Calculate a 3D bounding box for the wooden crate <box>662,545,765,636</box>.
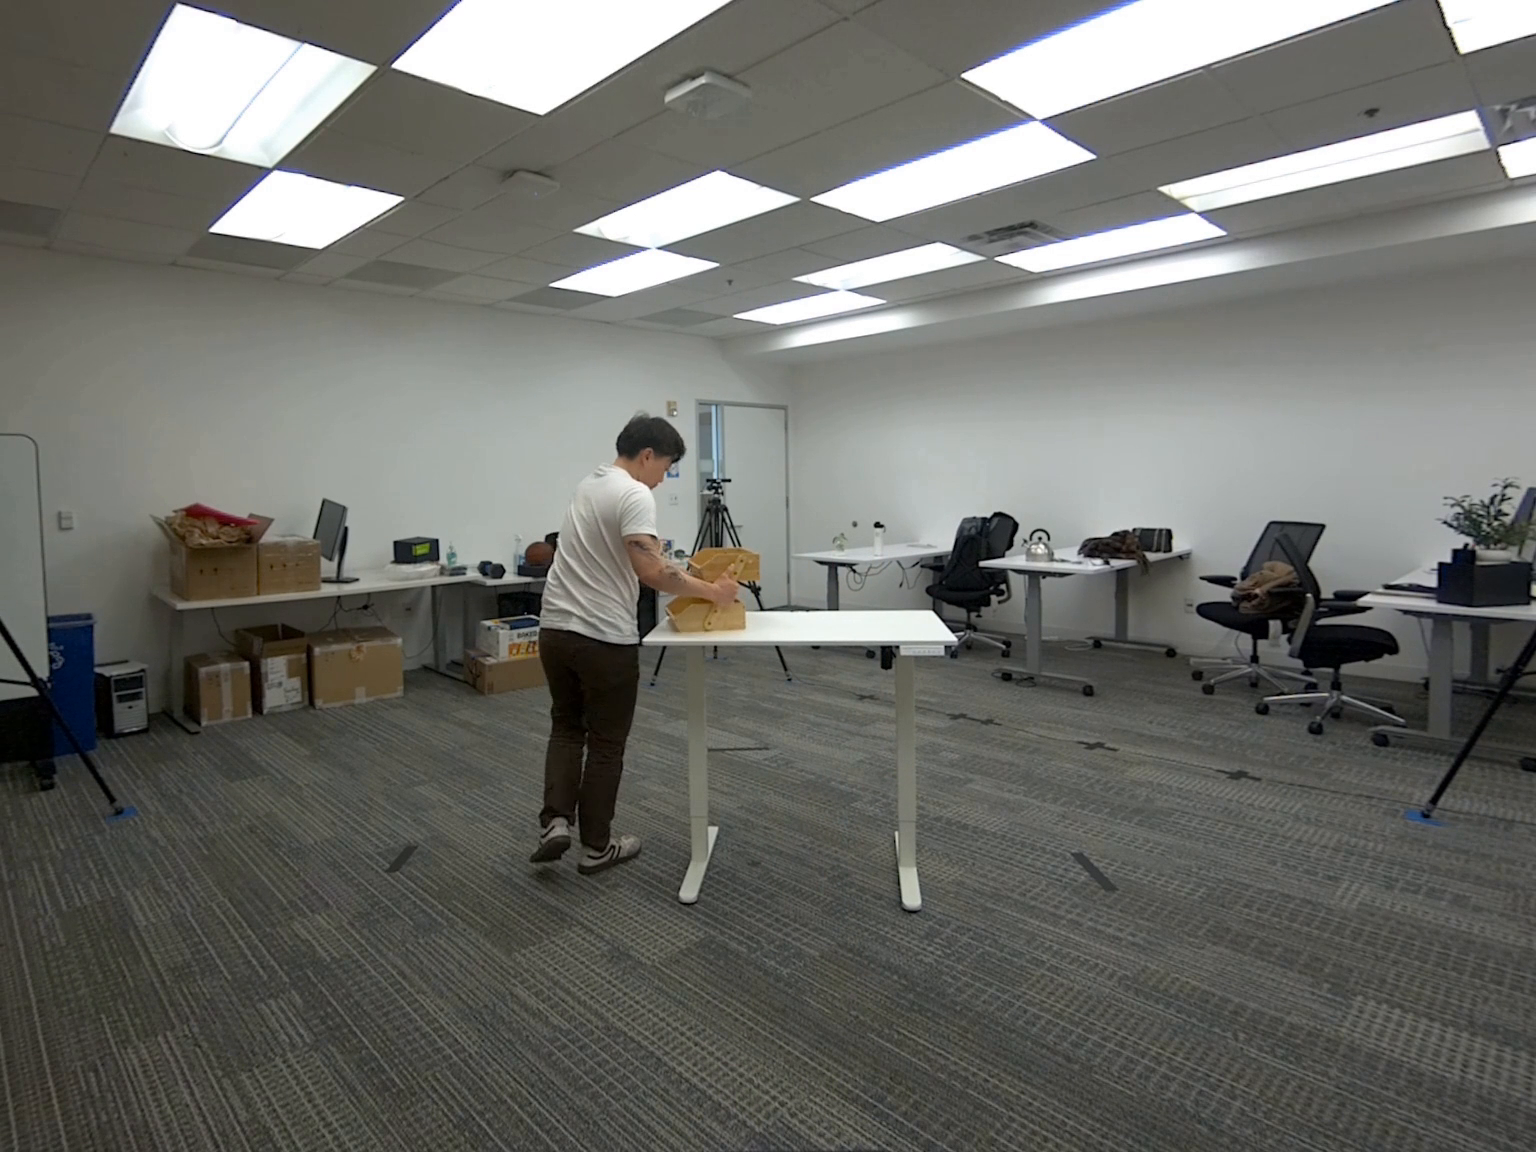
[{"bbox_3d":[-0.204,0.041,3.057,0.299,0.272,0.329,-3,4,-12],"label":"wooden crate"}]
